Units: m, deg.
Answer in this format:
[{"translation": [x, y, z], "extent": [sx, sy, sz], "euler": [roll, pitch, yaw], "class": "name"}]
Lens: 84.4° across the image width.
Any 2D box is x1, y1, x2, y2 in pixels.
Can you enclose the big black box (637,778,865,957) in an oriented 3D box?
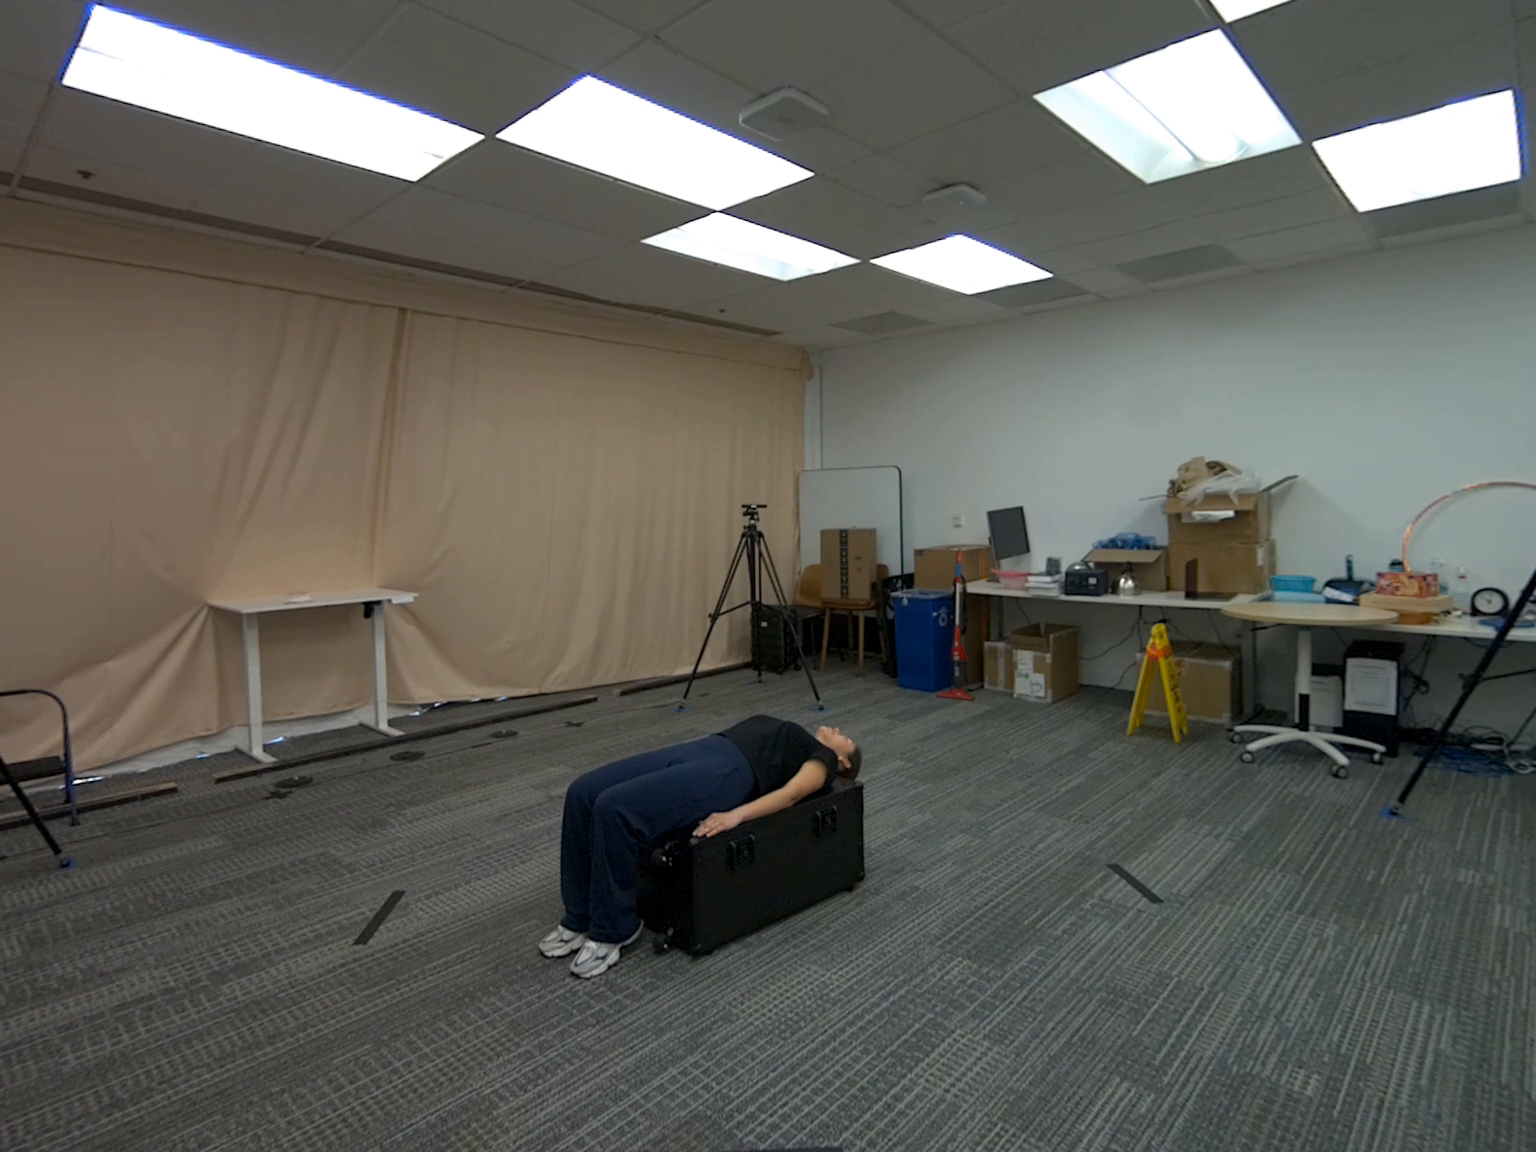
[{"translation": [-0.063, 0.962, 3.000], "extent": [0.836, 0.395, 0.538], "euler": [-7, 7, -41], "class": "big black box"}]
